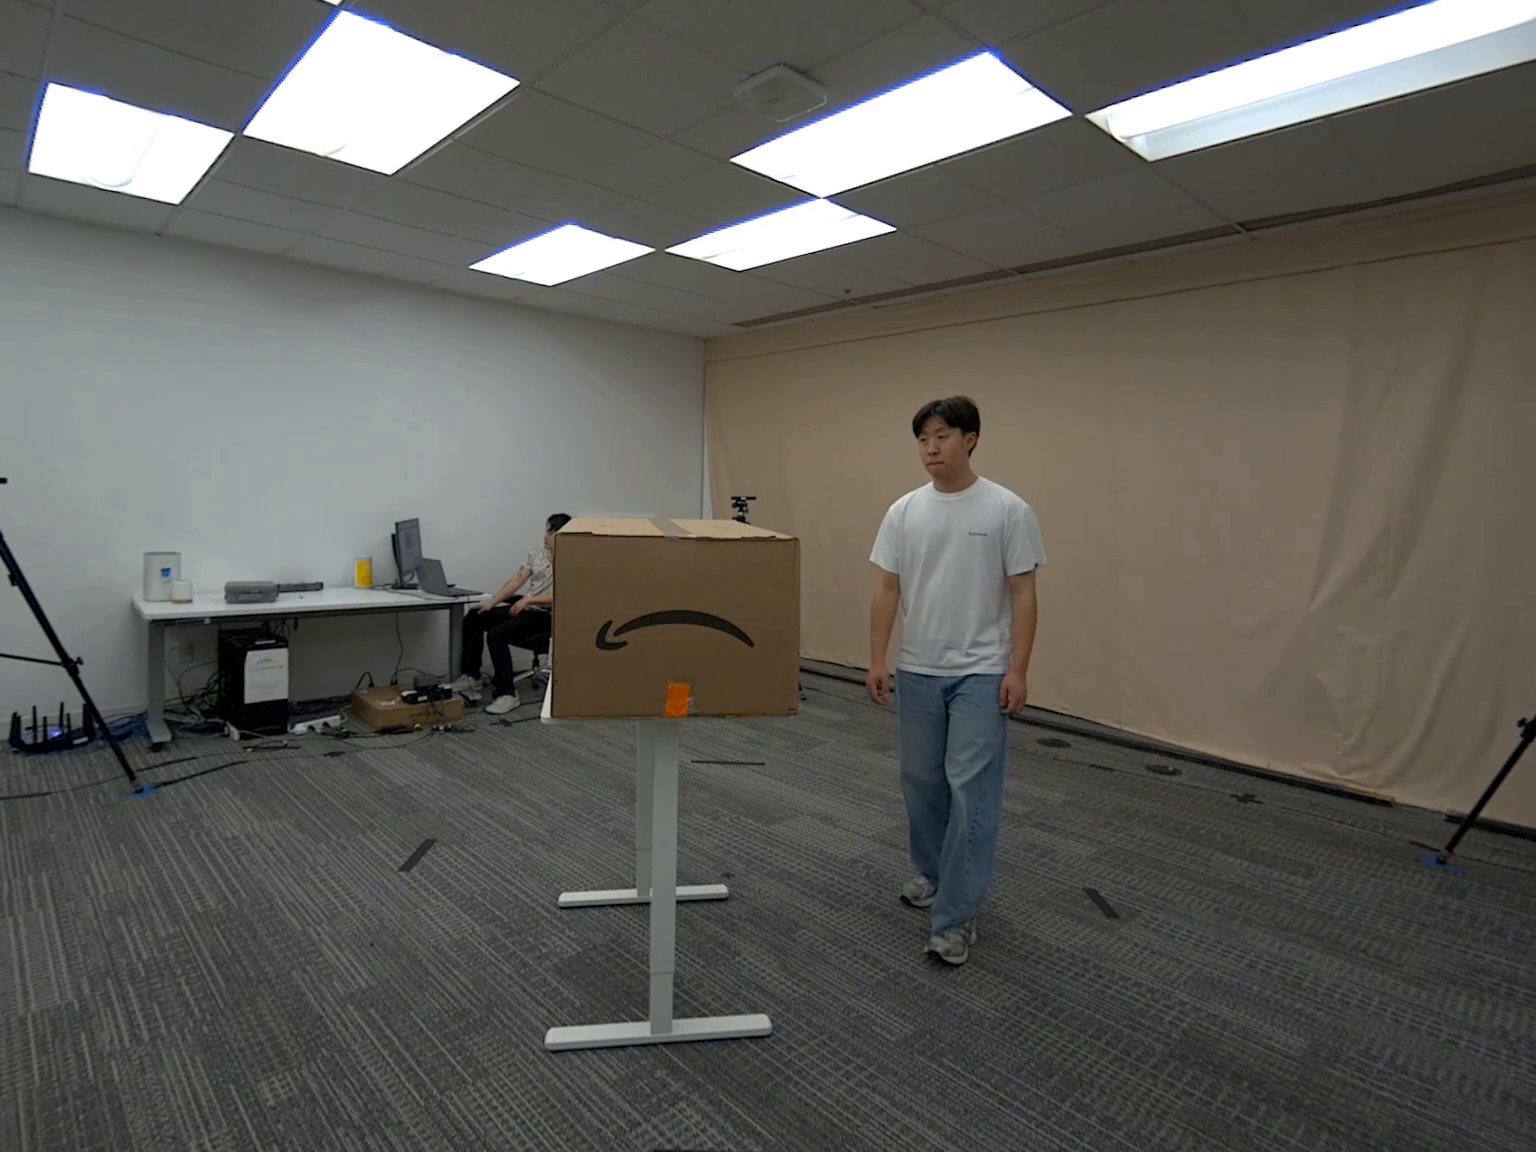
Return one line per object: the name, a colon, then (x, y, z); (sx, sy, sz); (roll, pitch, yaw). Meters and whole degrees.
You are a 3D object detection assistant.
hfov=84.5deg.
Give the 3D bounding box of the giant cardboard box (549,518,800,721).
giant cardboard box: (-0.299, 0.071, 2.445); (0.573, 0.425, 1.037); (1, 5, -10)
